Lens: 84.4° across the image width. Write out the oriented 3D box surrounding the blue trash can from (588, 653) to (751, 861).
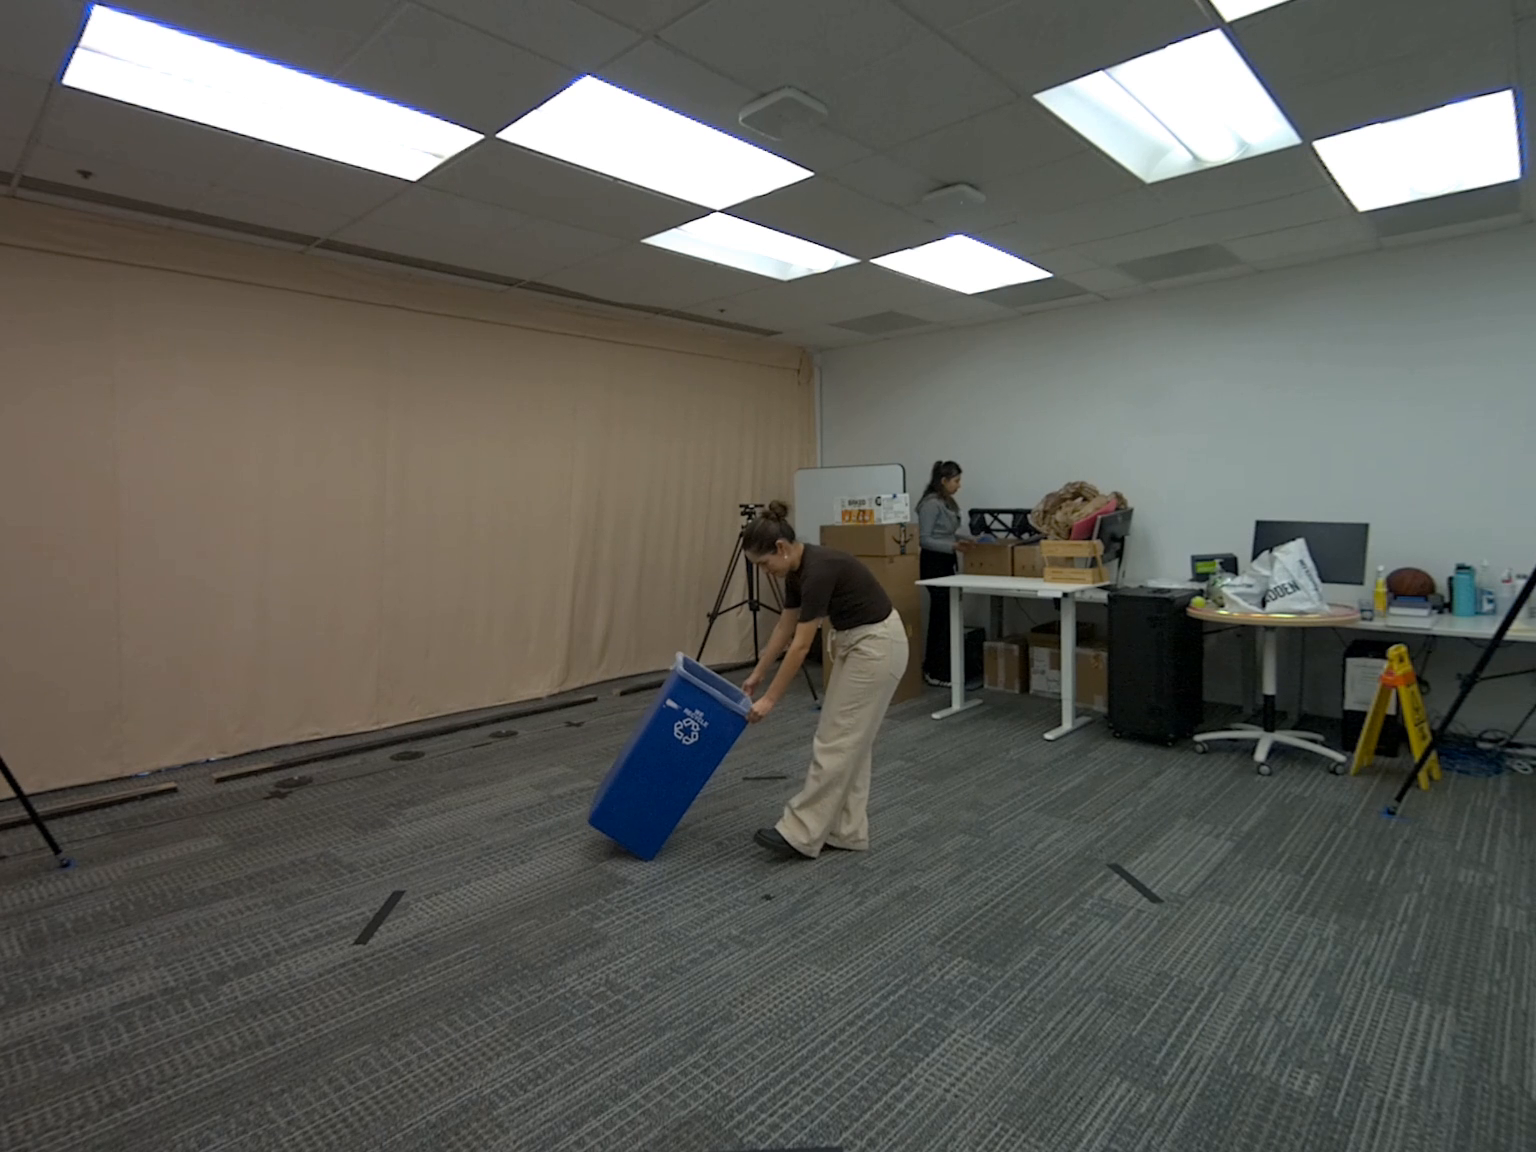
[{"bbox_3d":[-0.393,0.738,3.439,0.371,0.713,0.381,32,2,-7],"label":"blue trash can"}]
